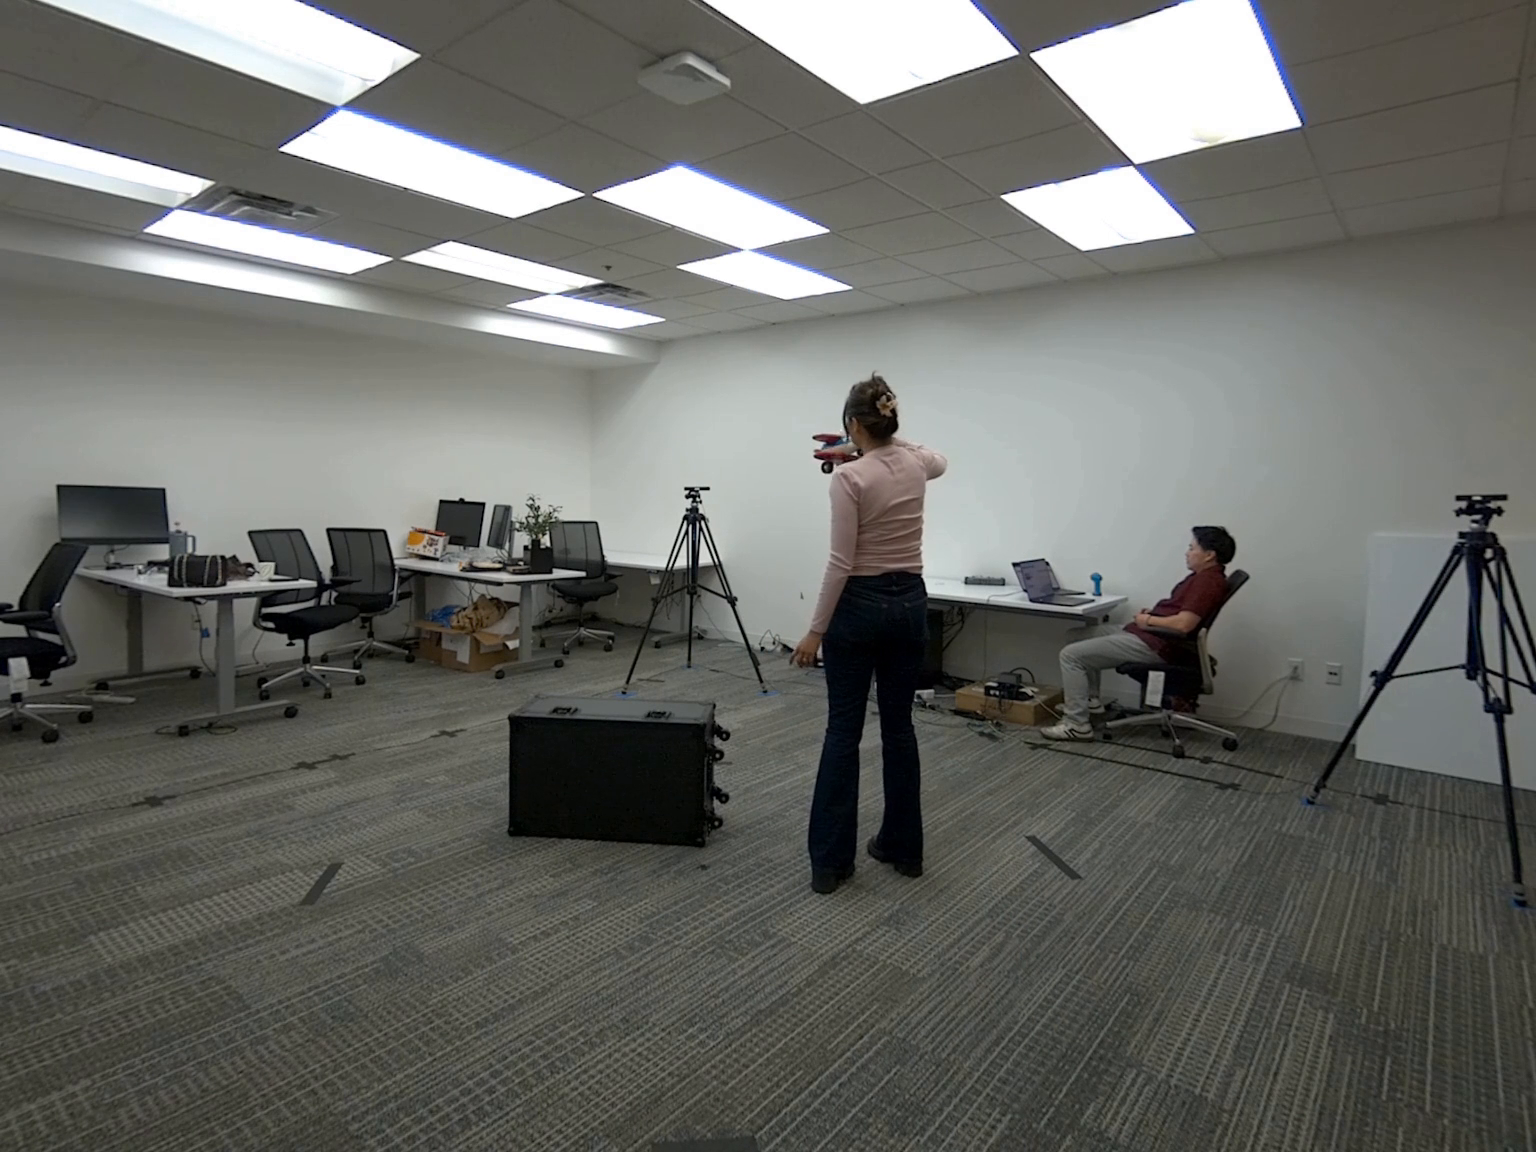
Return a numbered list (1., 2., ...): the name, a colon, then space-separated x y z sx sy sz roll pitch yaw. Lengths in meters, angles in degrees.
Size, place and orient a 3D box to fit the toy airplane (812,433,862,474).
1. toy airplane: 0.327 -0.533 3.562 0.263 0.159 0.243 -18 -17 23
